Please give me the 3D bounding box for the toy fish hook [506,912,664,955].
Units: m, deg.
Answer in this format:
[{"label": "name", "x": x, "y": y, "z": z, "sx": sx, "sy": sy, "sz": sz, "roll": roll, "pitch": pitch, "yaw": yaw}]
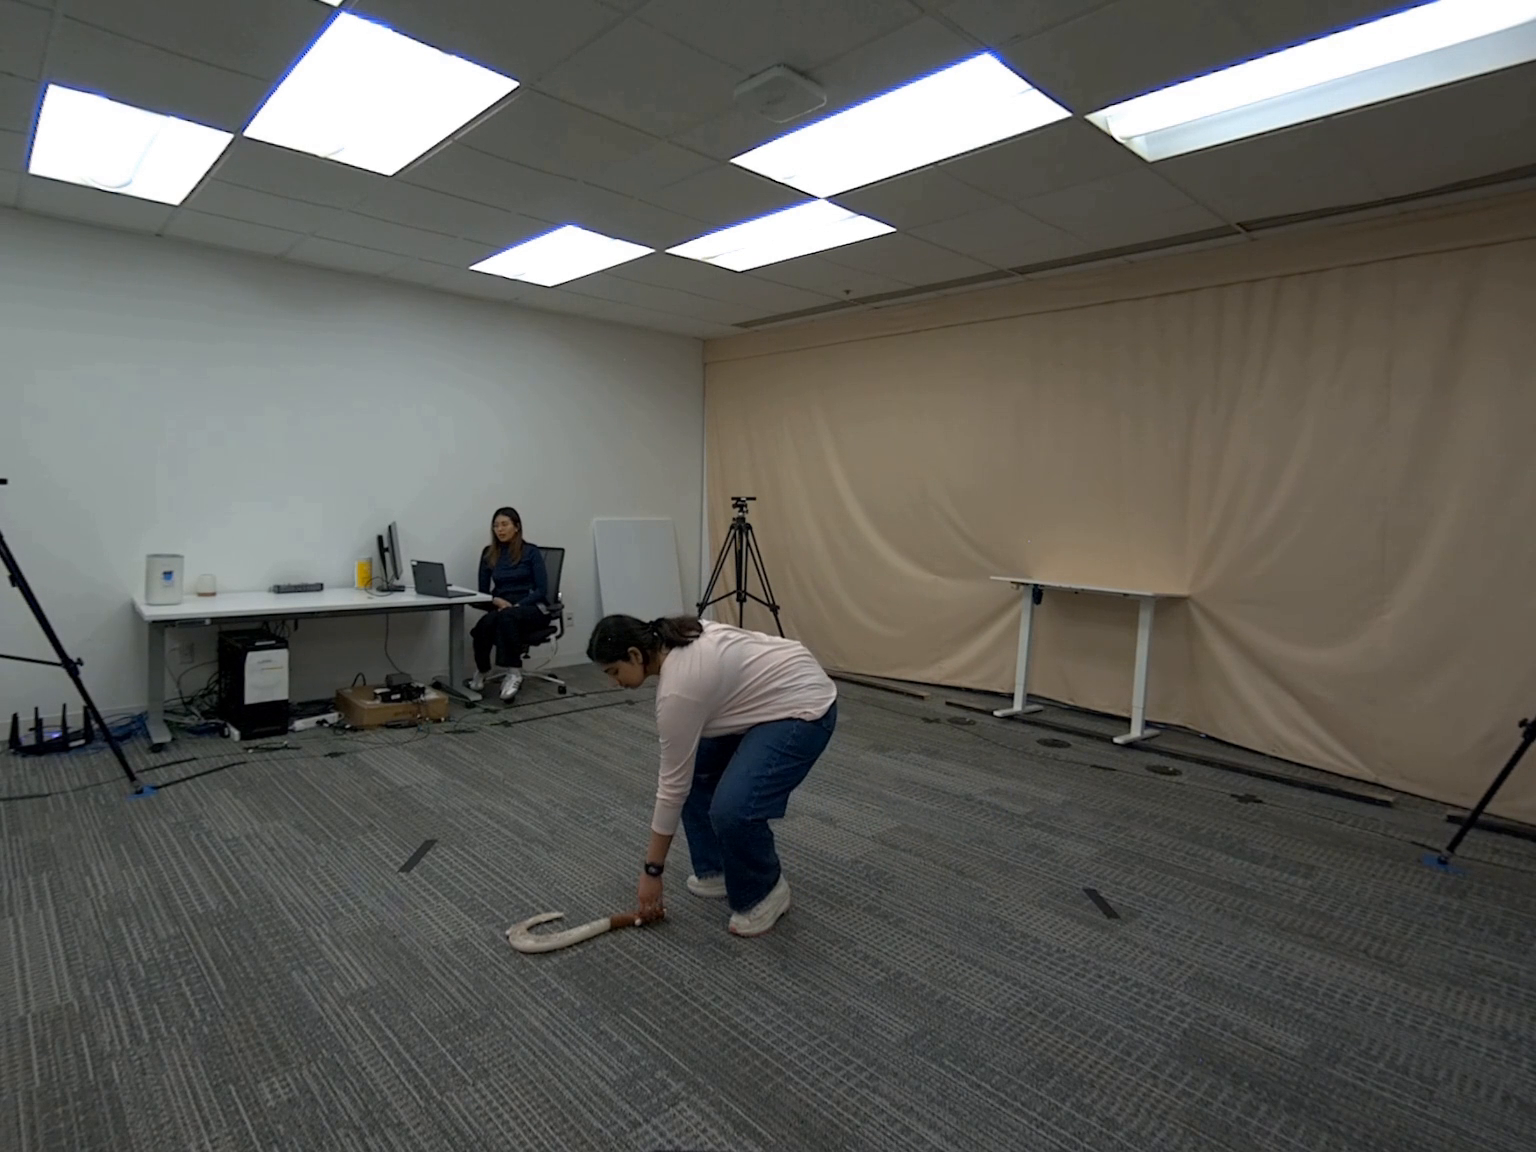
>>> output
[{"label": "toy fish hook", "x": -0.581, "y": 1.108, "z": 2.707, "sx": 0.497, "sy": 0.048, "sz": 0.229, "roll": -1, "pitch": 5, "yaw": -27}]
